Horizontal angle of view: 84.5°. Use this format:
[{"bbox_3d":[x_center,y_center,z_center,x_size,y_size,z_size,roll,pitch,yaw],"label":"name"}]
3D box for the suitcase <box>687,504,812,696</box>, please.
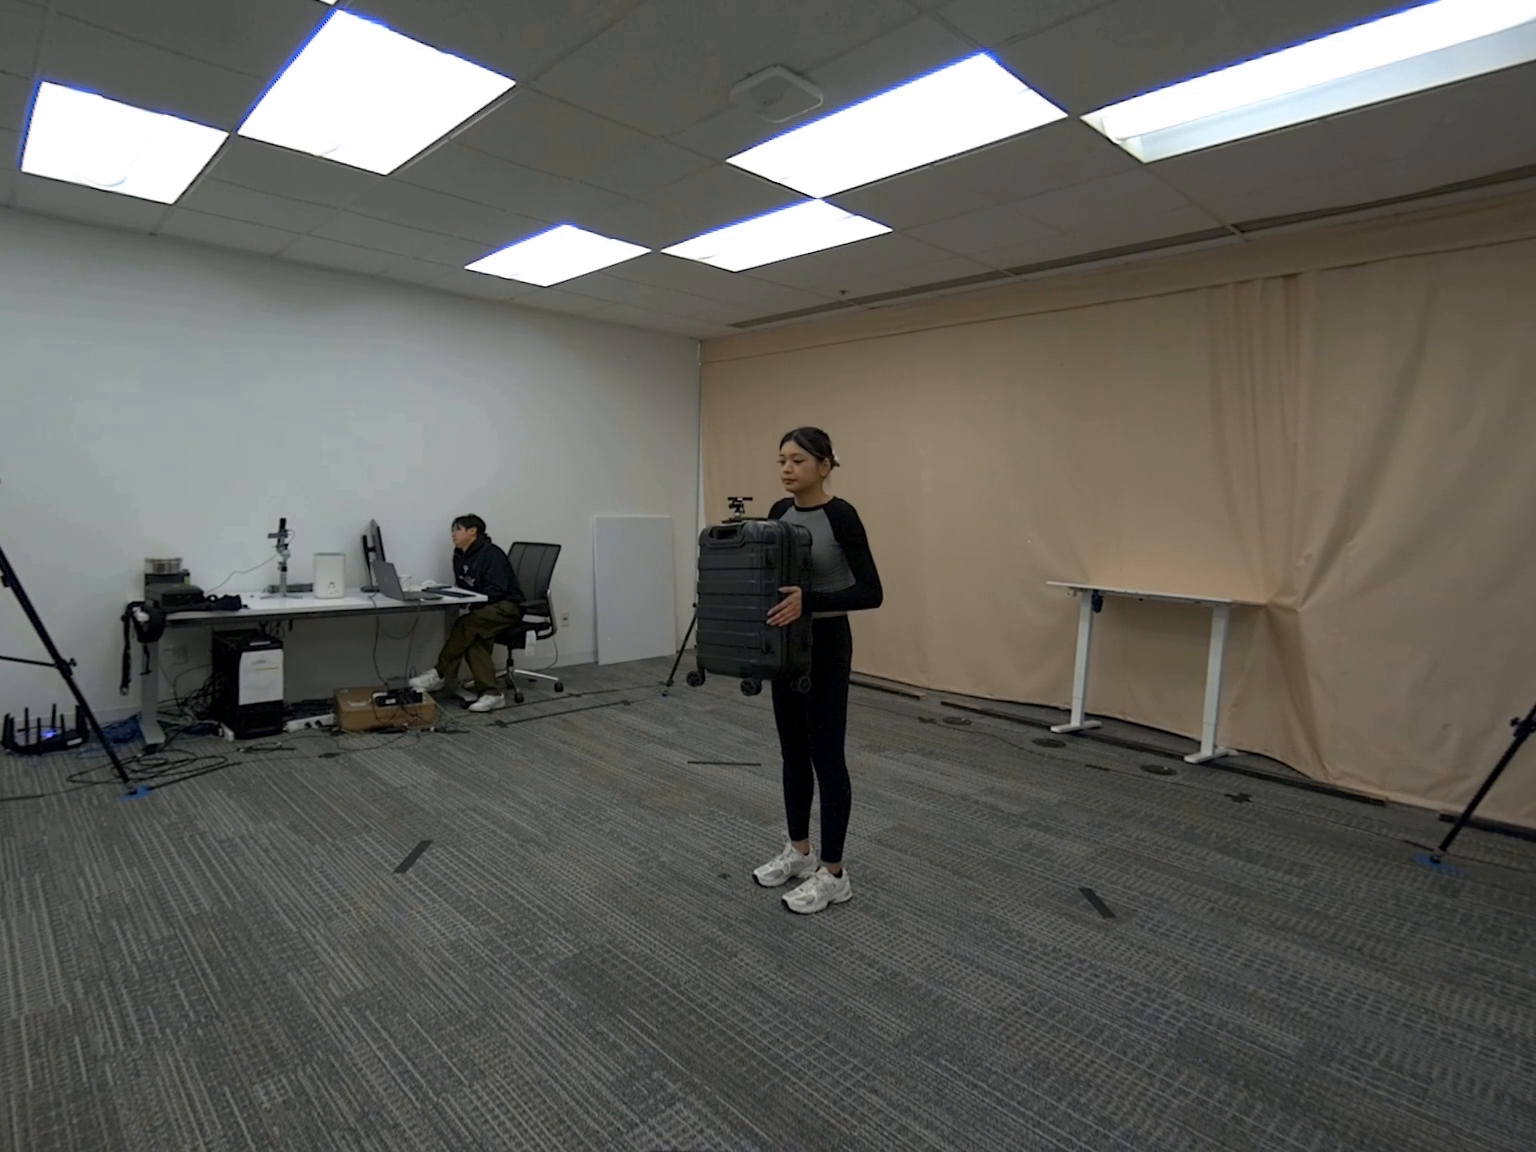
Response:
[{"bbox_3d":[-0.058,0.090,2.733,0.242,0.551,0.383,4,-4,-37],"label":"suitcase"}]
